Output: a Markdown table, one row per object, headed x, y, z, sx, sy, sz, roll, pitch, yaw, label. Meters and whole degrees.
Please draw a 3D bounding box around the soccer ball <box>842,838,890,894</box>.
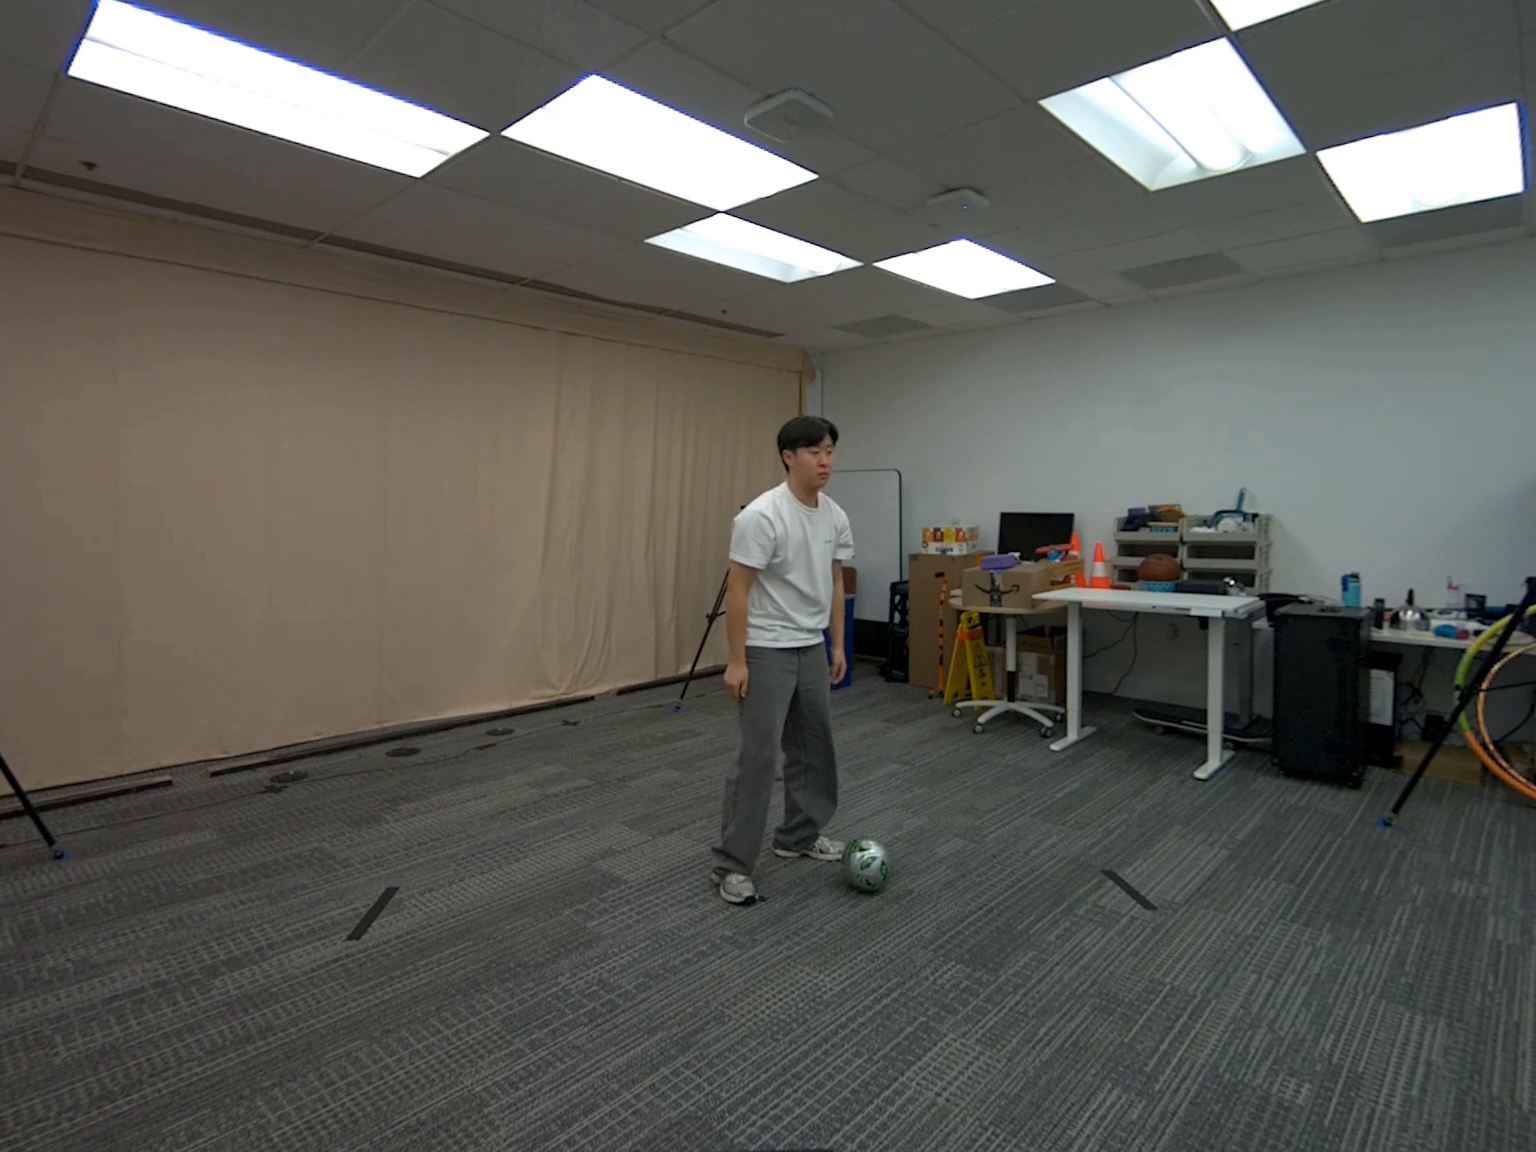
| x | y | z | sx | sy | sz | roll | pitch | yaw | label |
| --- | --- | --- | --- | --- | --- | --- | --- | --- | --- |
| 0.365 | 1.049 | 3.043 | 0.187 | 0.187 | 0.188 | 0 | 4 | -2 | soccer ball |
